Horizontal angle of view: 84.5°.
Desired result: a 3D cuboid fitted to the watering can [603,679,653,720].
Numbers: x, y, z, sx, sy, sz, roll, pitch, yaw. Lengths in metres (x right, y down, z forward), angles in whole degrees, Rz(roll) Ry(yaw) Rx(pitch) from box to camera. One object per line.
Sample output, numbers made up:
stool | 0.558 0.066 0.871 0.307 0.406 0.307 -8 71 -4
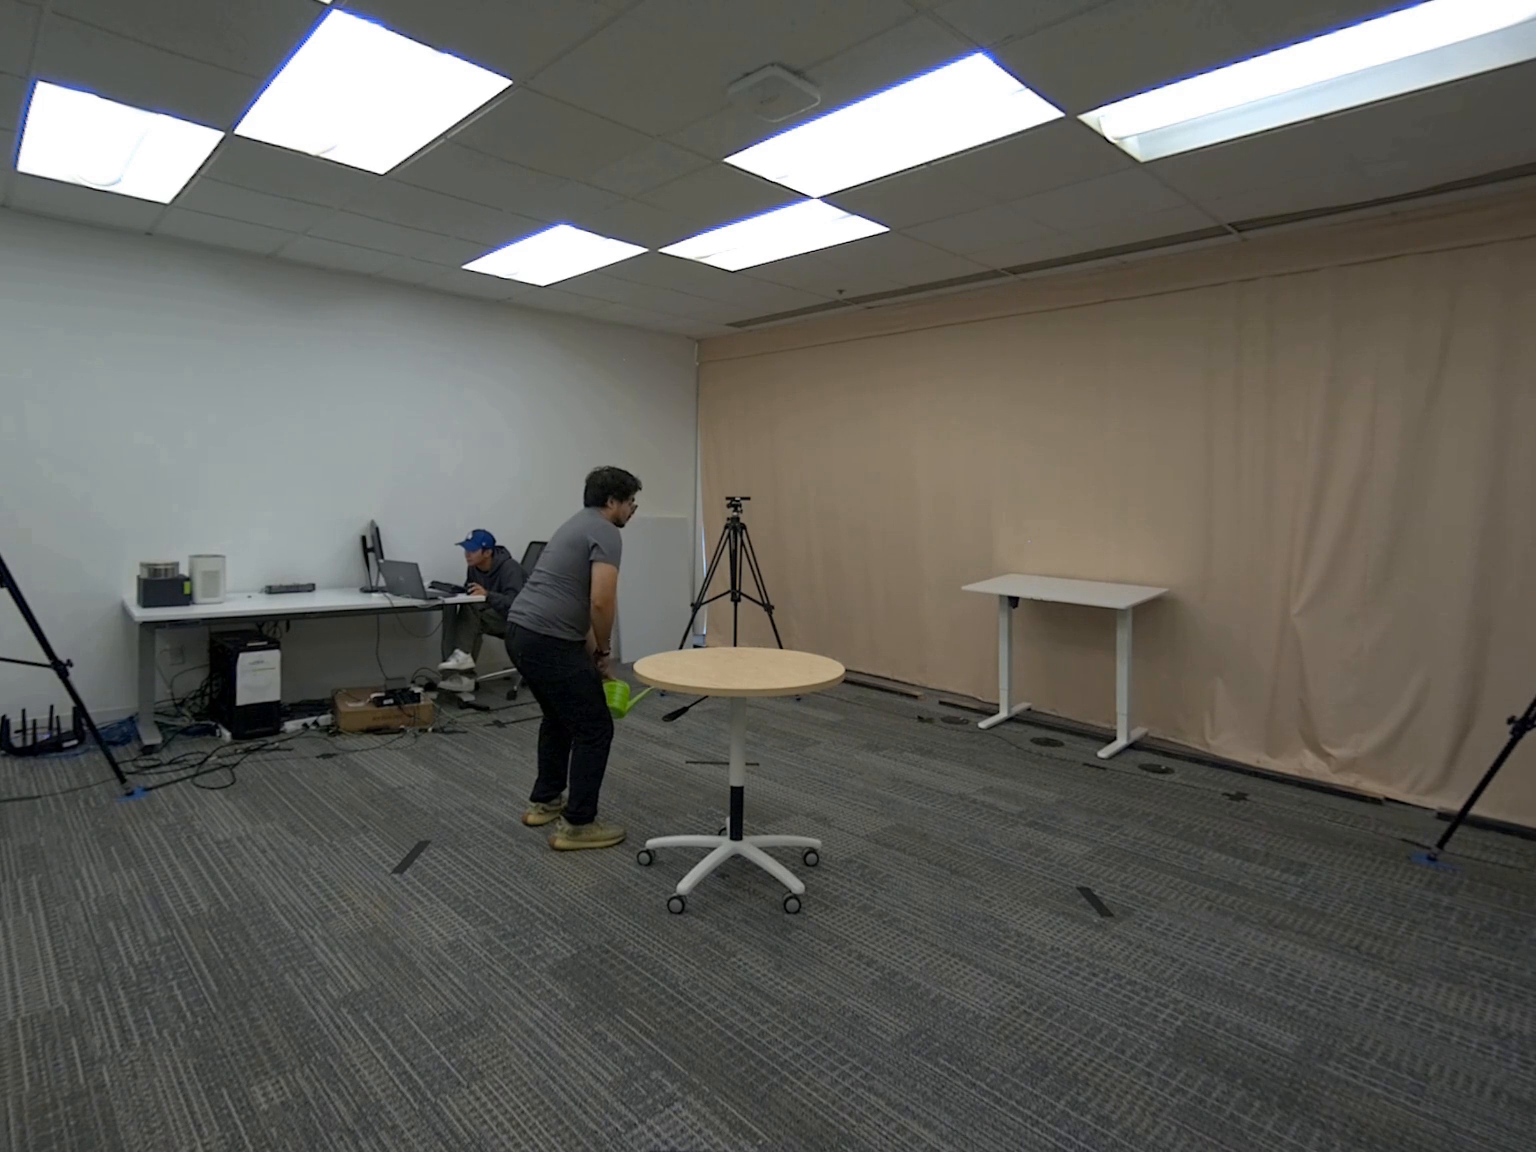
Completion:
watering can | -0.643 0.530 3.666 0.279 0.096 0.180 0 46 4
